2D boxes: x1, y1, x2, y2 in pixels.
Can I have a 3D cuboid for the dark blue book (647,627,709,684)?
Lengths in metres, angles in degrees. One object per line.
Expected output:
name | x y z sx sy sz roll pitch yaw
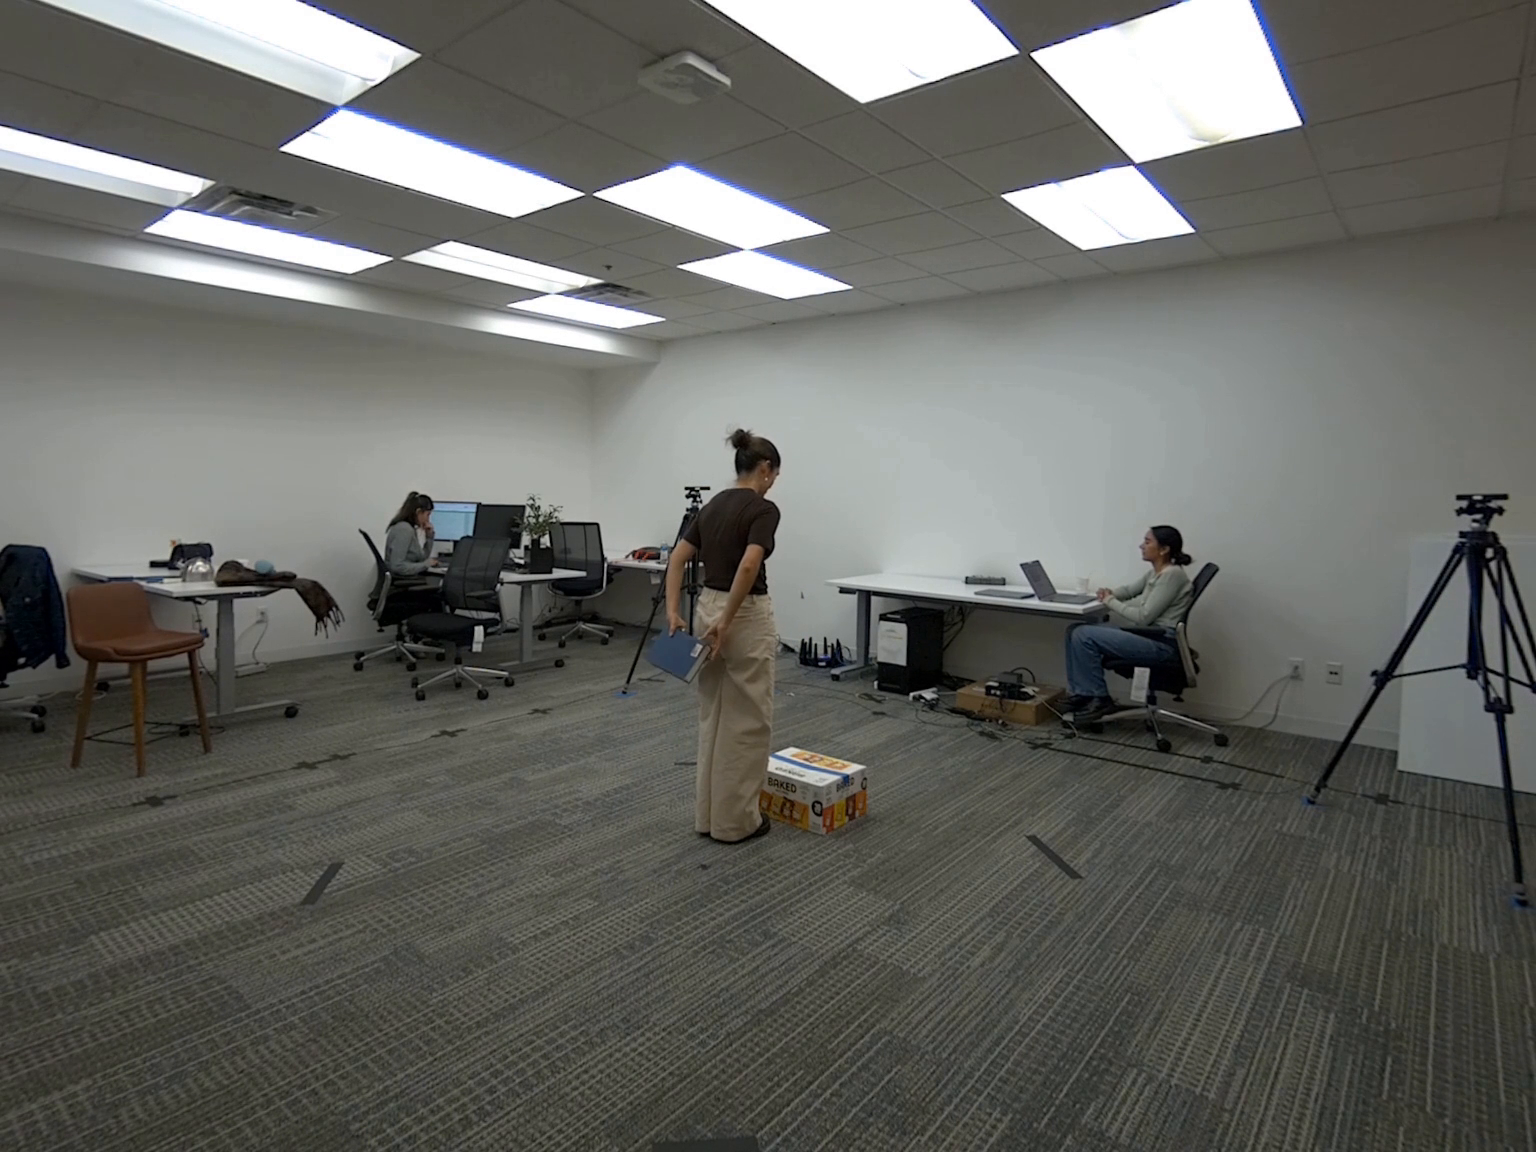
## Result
dark blue book | -0.367 0.301 3.339 0.255 0.164 0.043 18 -22 41
